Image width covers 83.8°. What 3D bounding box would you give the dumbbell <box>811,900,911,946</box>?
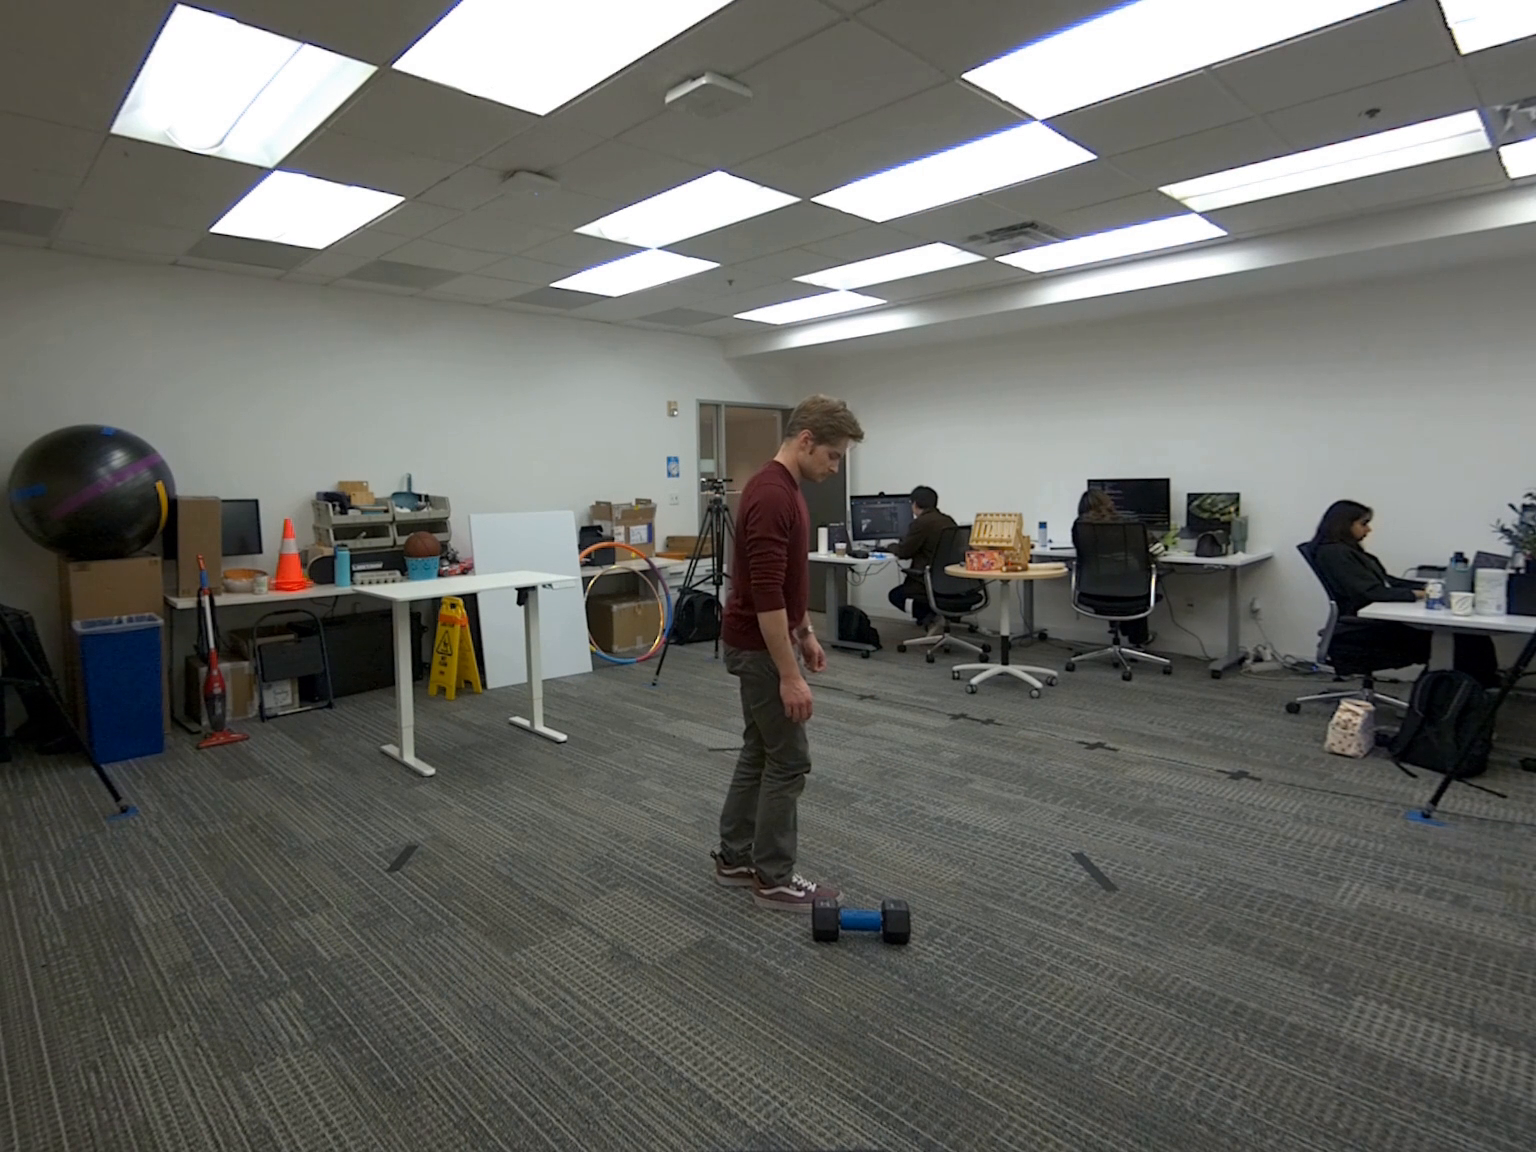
[{"bbox_3d":[0.288,1.046,2.589,0.295,0.125,0.106,-1,-26,5],"label":"dumbbell"}]
